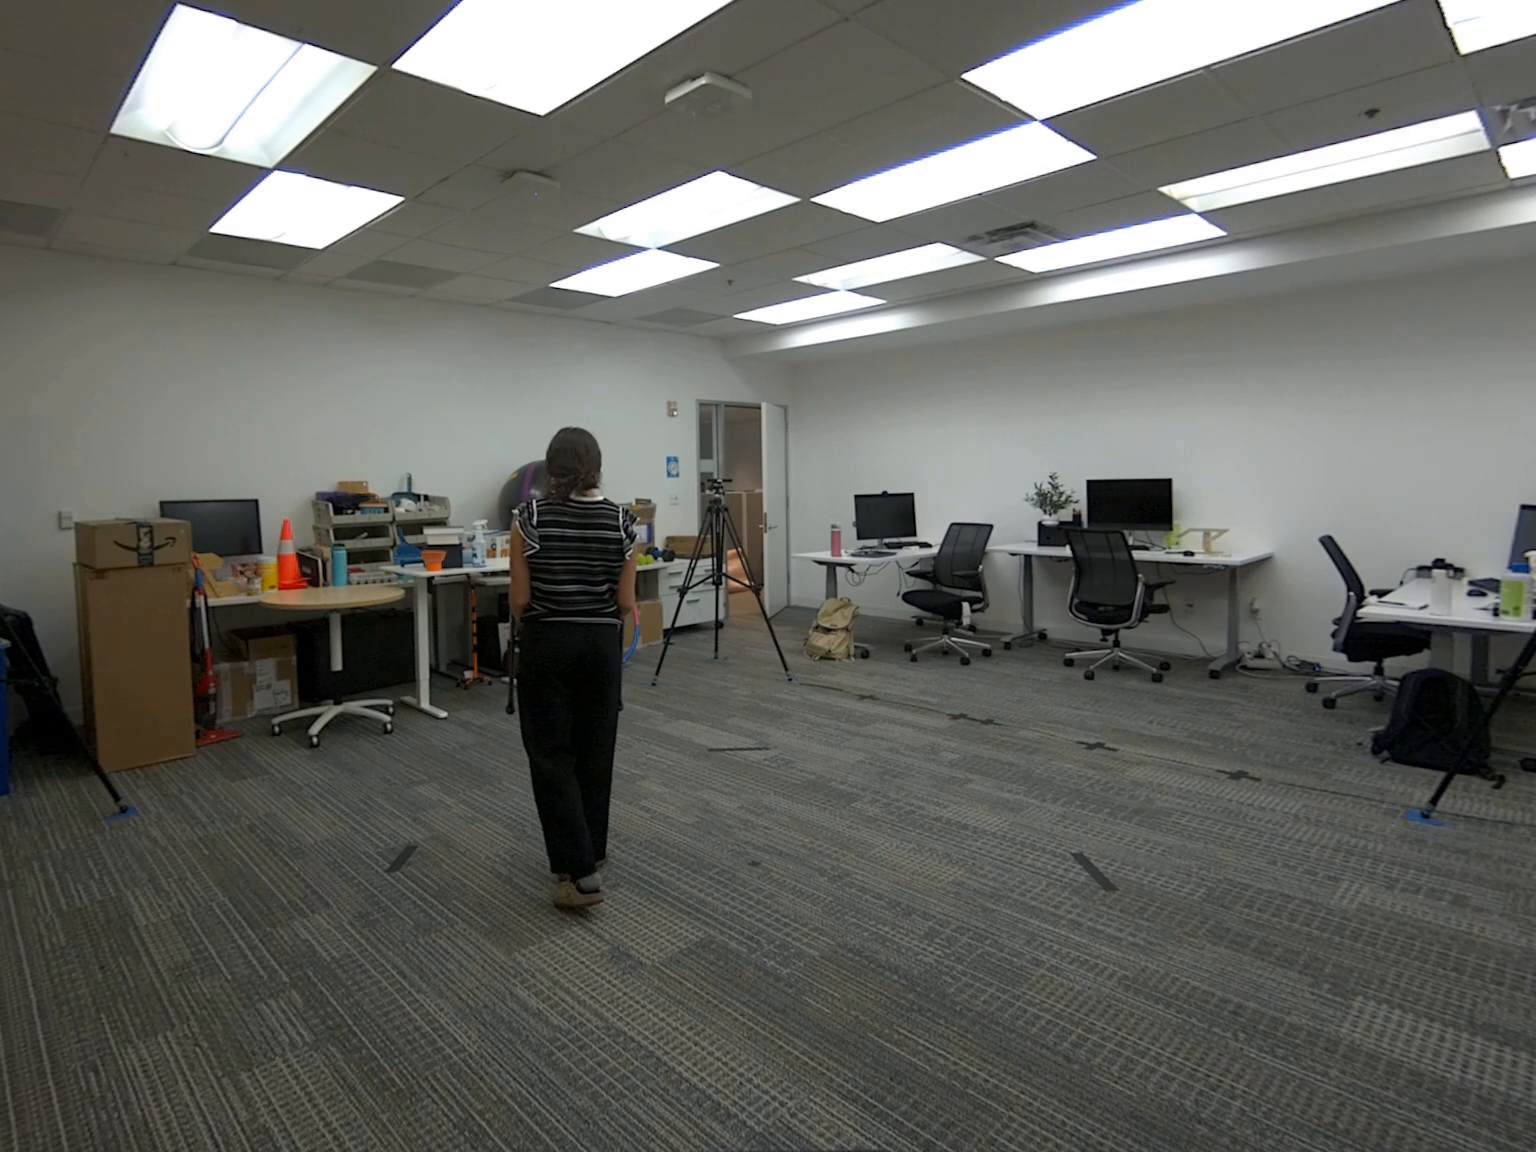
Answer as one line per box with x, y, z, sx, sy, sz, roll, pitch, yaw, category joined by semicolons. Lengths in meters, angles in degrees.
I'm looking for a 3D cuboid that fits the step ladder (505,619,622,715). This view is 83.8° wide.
-0.730;0.153;3.135;0.423;0.595;0.362;0;31;-18;step ladder
